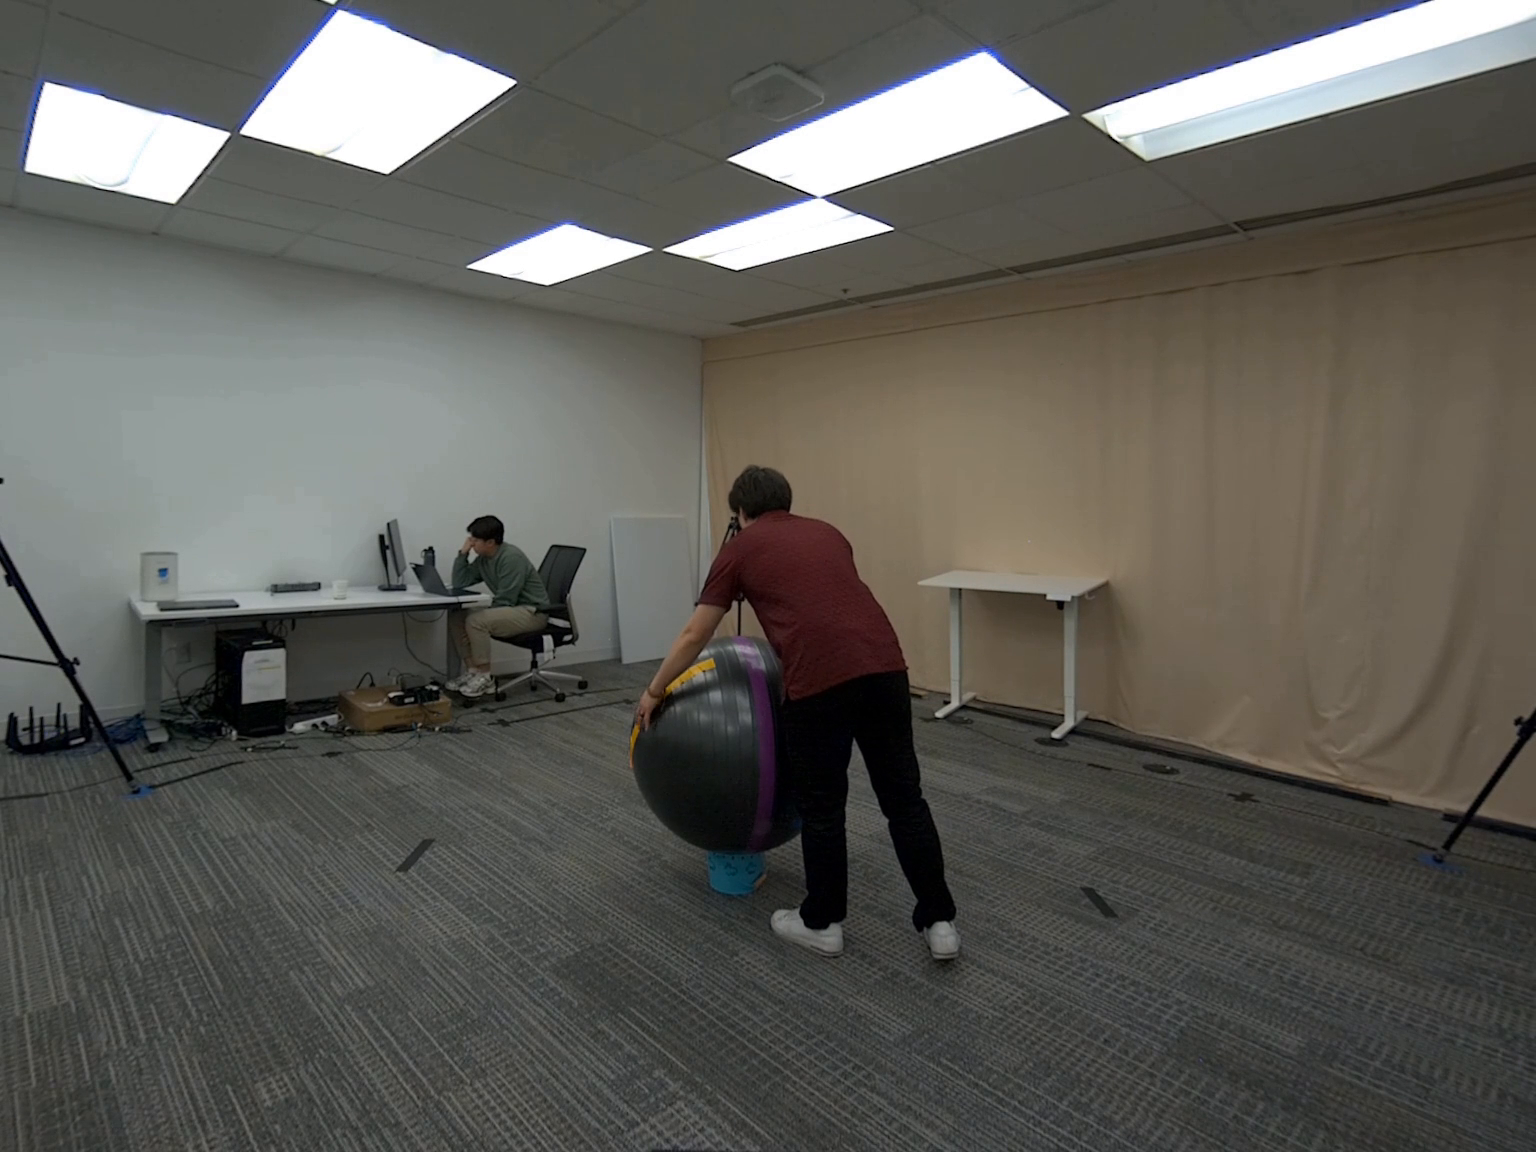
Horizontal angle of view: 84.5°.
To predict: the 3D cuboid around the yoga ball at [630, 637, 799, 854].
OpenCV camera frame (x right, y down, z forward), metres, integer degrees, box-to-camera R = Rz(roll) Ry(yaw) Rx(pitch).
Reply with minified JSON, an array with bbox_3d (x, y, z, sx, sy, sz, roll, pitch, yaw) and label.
[{"bbox_3d":[-0.118,0.598,3.022,0.757,0.756,0.761,1,4,-1],"label":"yoga ball"}]
